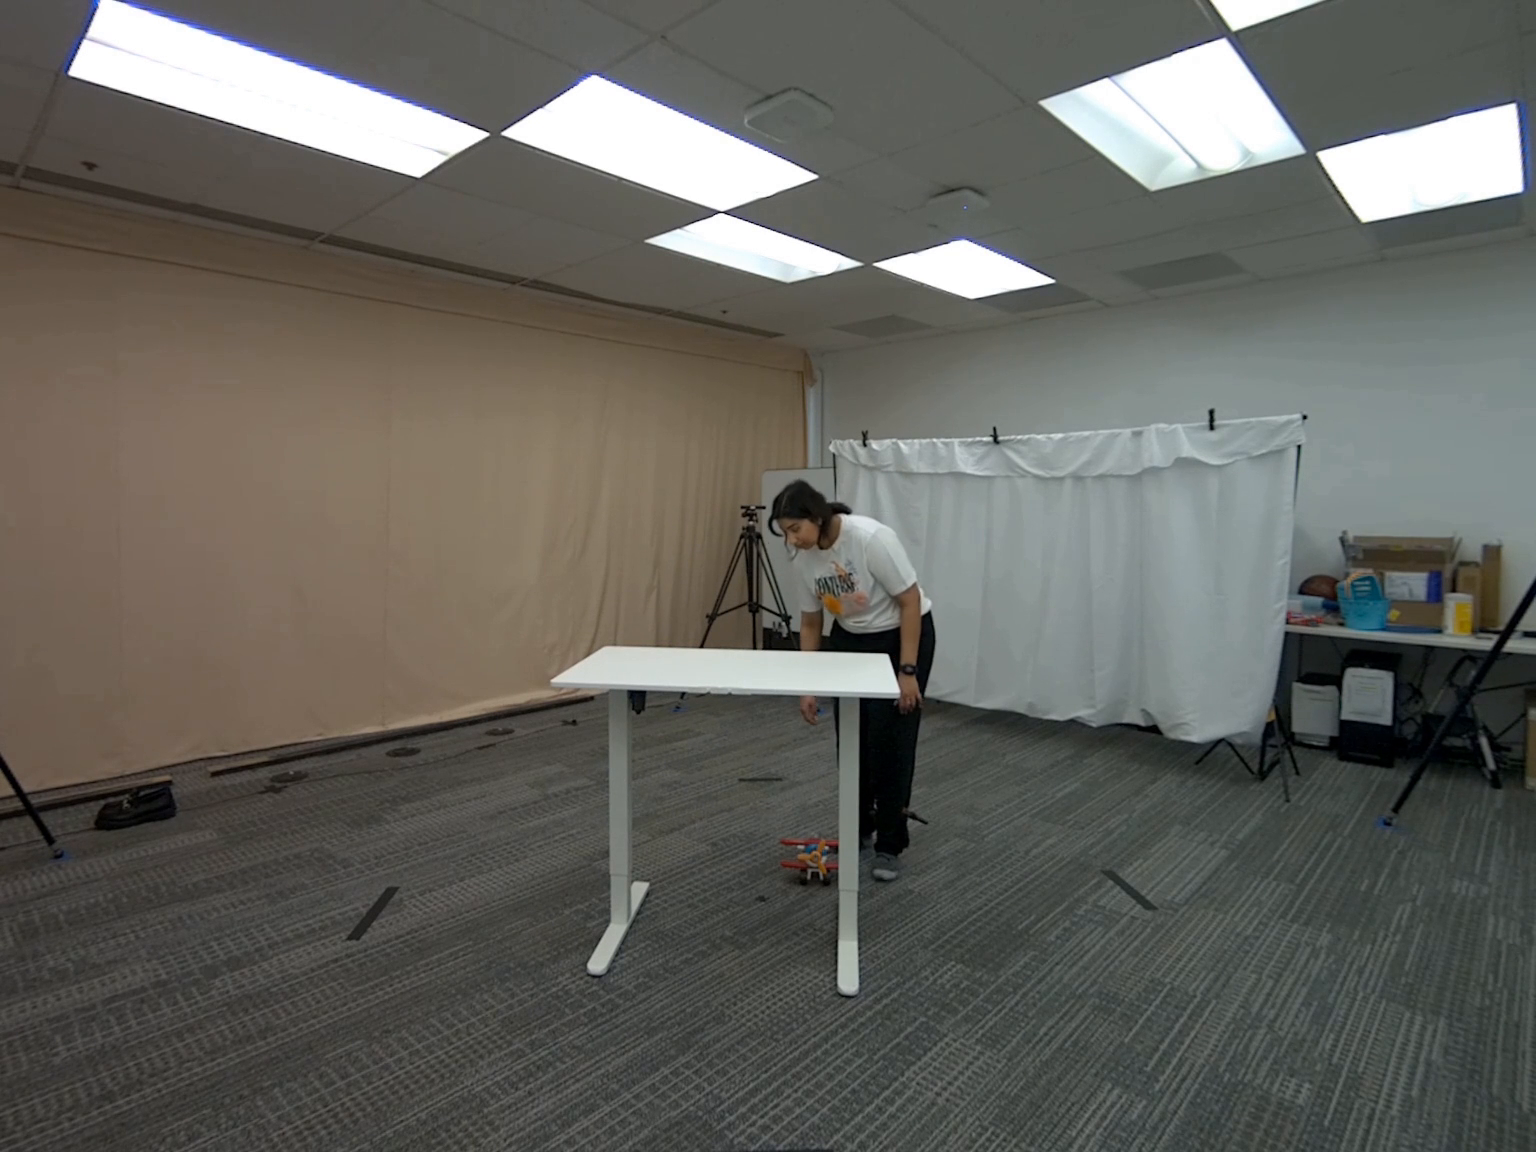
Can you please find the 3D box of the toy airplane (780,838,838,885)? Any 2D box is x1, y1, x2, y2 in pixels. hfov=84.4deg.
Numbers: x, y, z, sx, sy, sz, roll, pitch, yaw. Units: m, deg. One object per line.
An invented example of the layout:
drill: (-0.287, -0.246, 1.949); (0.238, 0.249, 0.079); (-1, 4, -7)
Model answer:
toy airplane: (0.151, 1.054, 3.173); (0.245, 0.156, 0.266); (-1, 5, -28)
